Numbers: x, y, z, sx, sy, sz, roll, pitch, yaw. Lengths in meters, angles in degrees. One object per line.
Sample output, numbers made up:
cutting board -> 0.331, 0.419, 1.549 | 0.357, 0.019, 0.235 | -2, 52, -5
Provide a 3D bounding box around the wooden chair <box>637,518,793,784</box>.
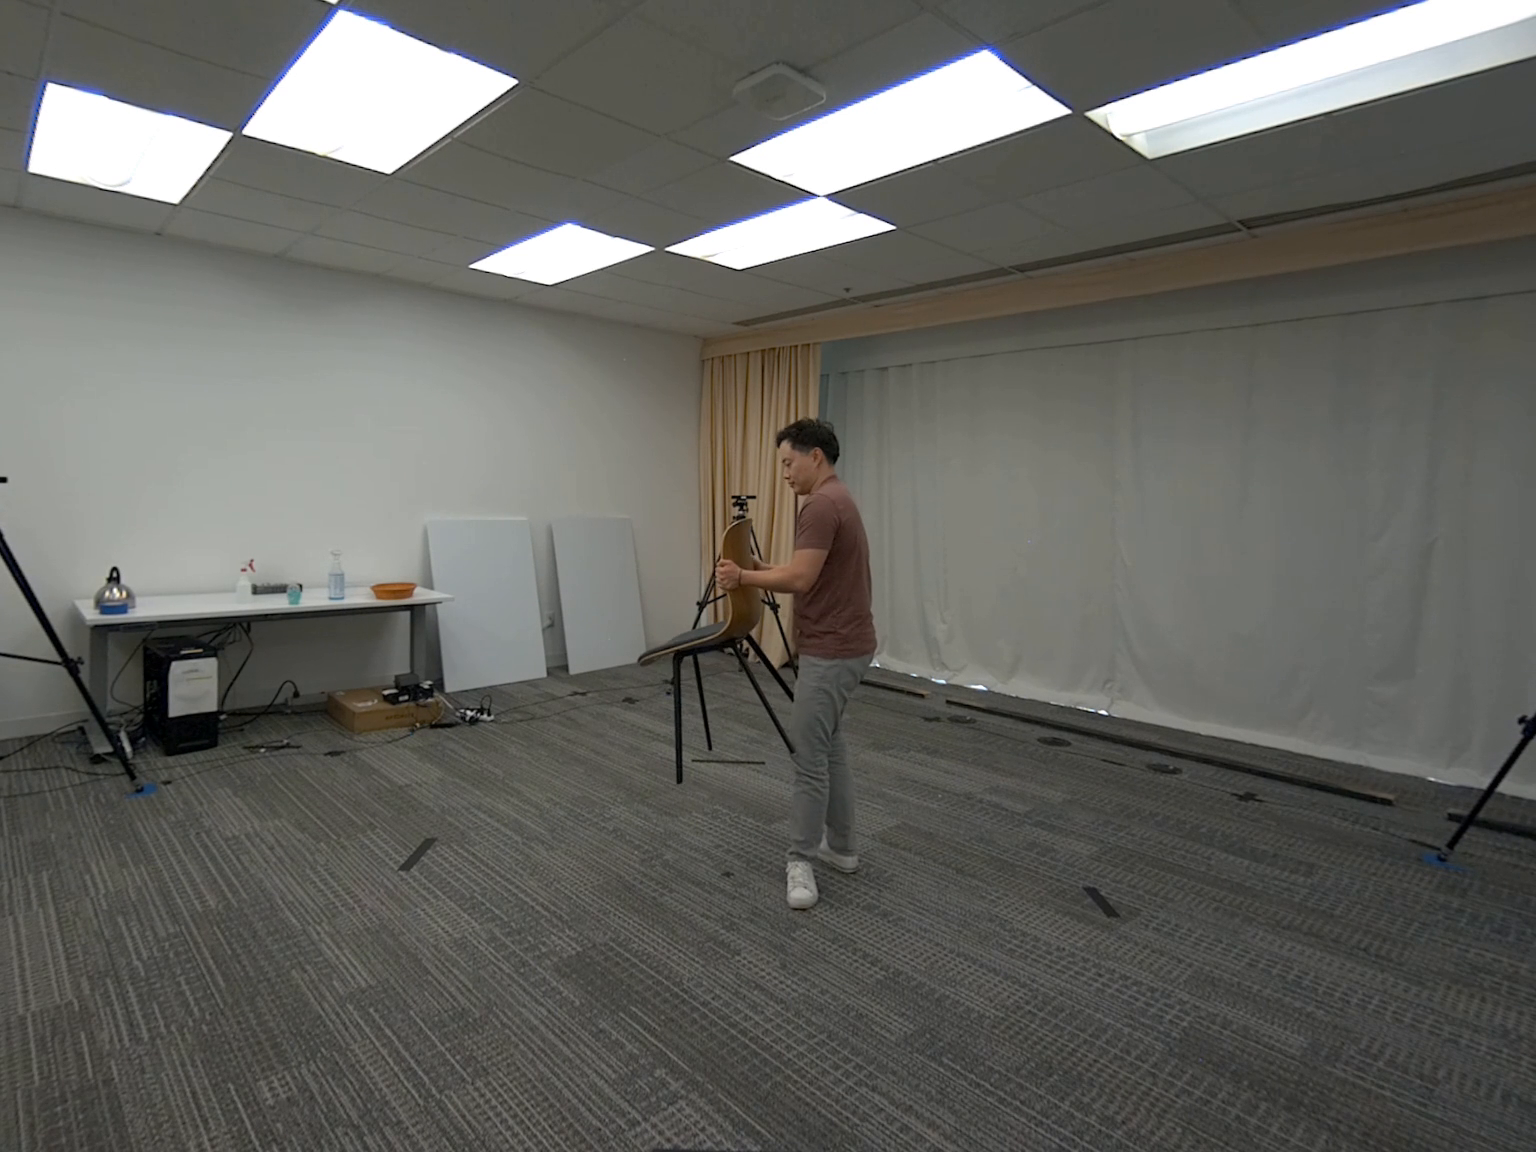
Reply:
wooden chair -> -0.217, 0.270, 3.211 | 0.527, 0.877, 0.474 | -13, 0, 13
